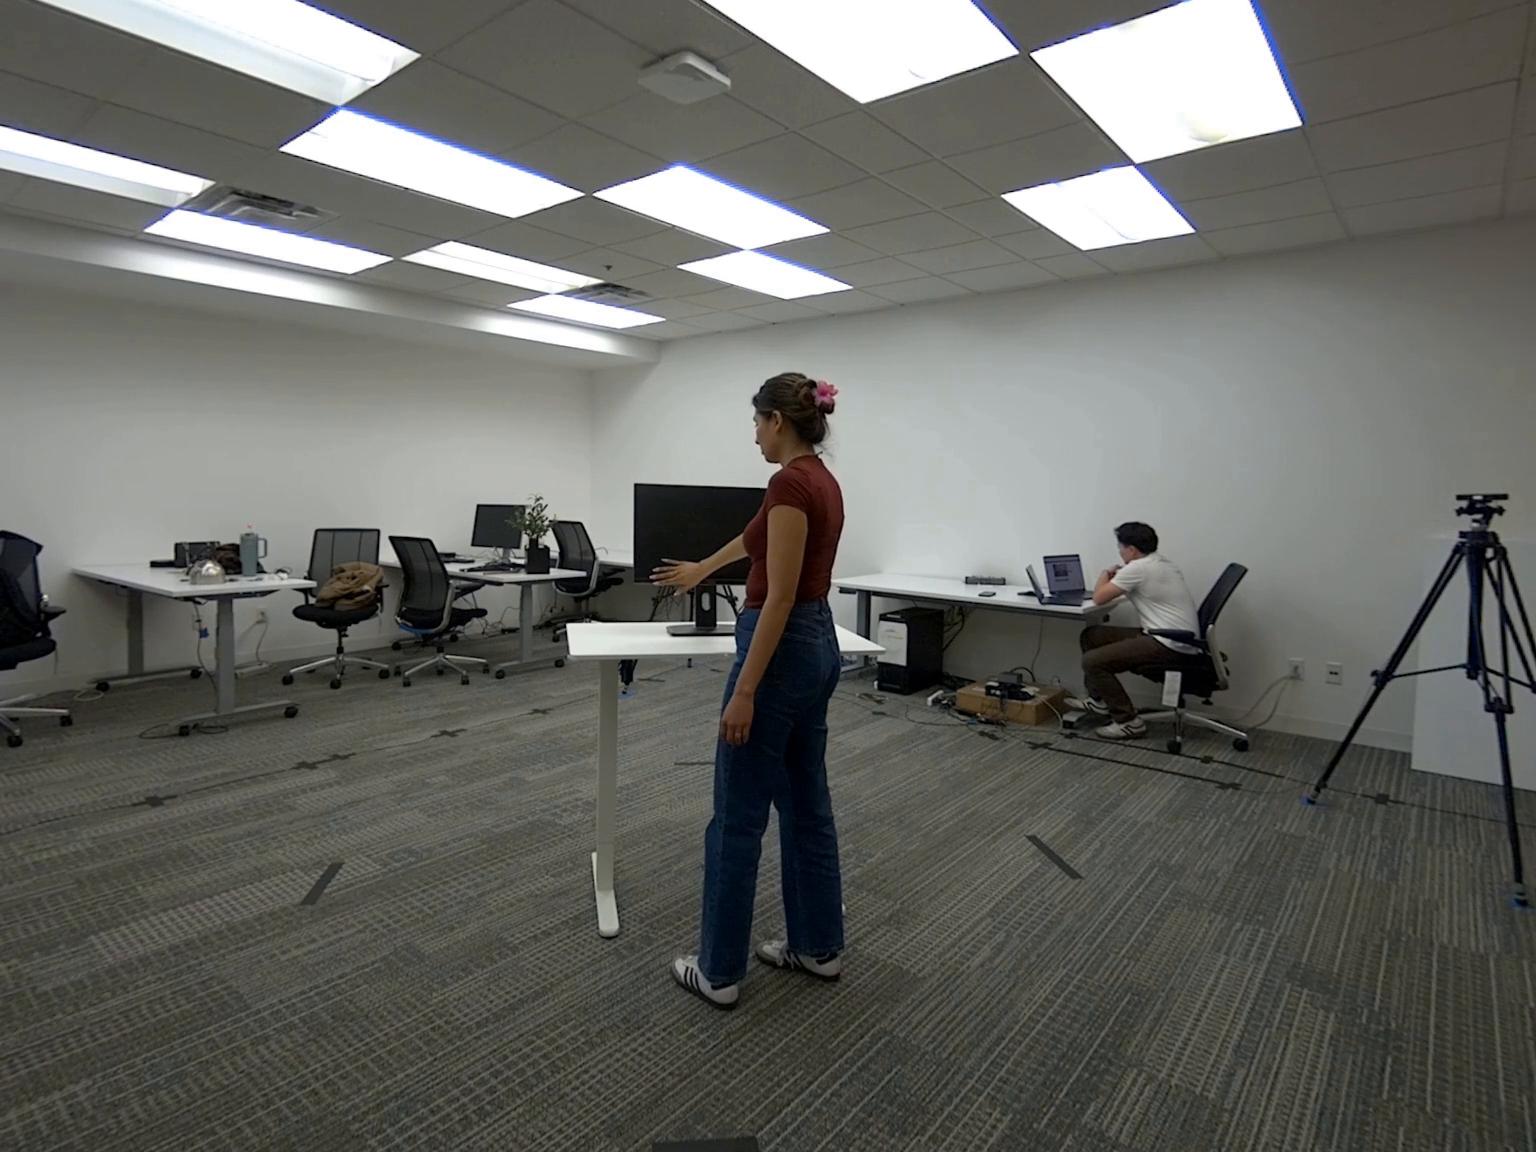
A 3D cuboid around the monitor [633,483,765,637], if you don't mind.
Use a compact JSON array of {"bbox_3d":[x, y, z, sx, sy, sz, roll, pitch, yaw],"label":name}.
[{"bbox_3d":[-0.225,-0.057,3.001,0.531,0.523,0.190,0,0,-14],"label":"monitor"}]
